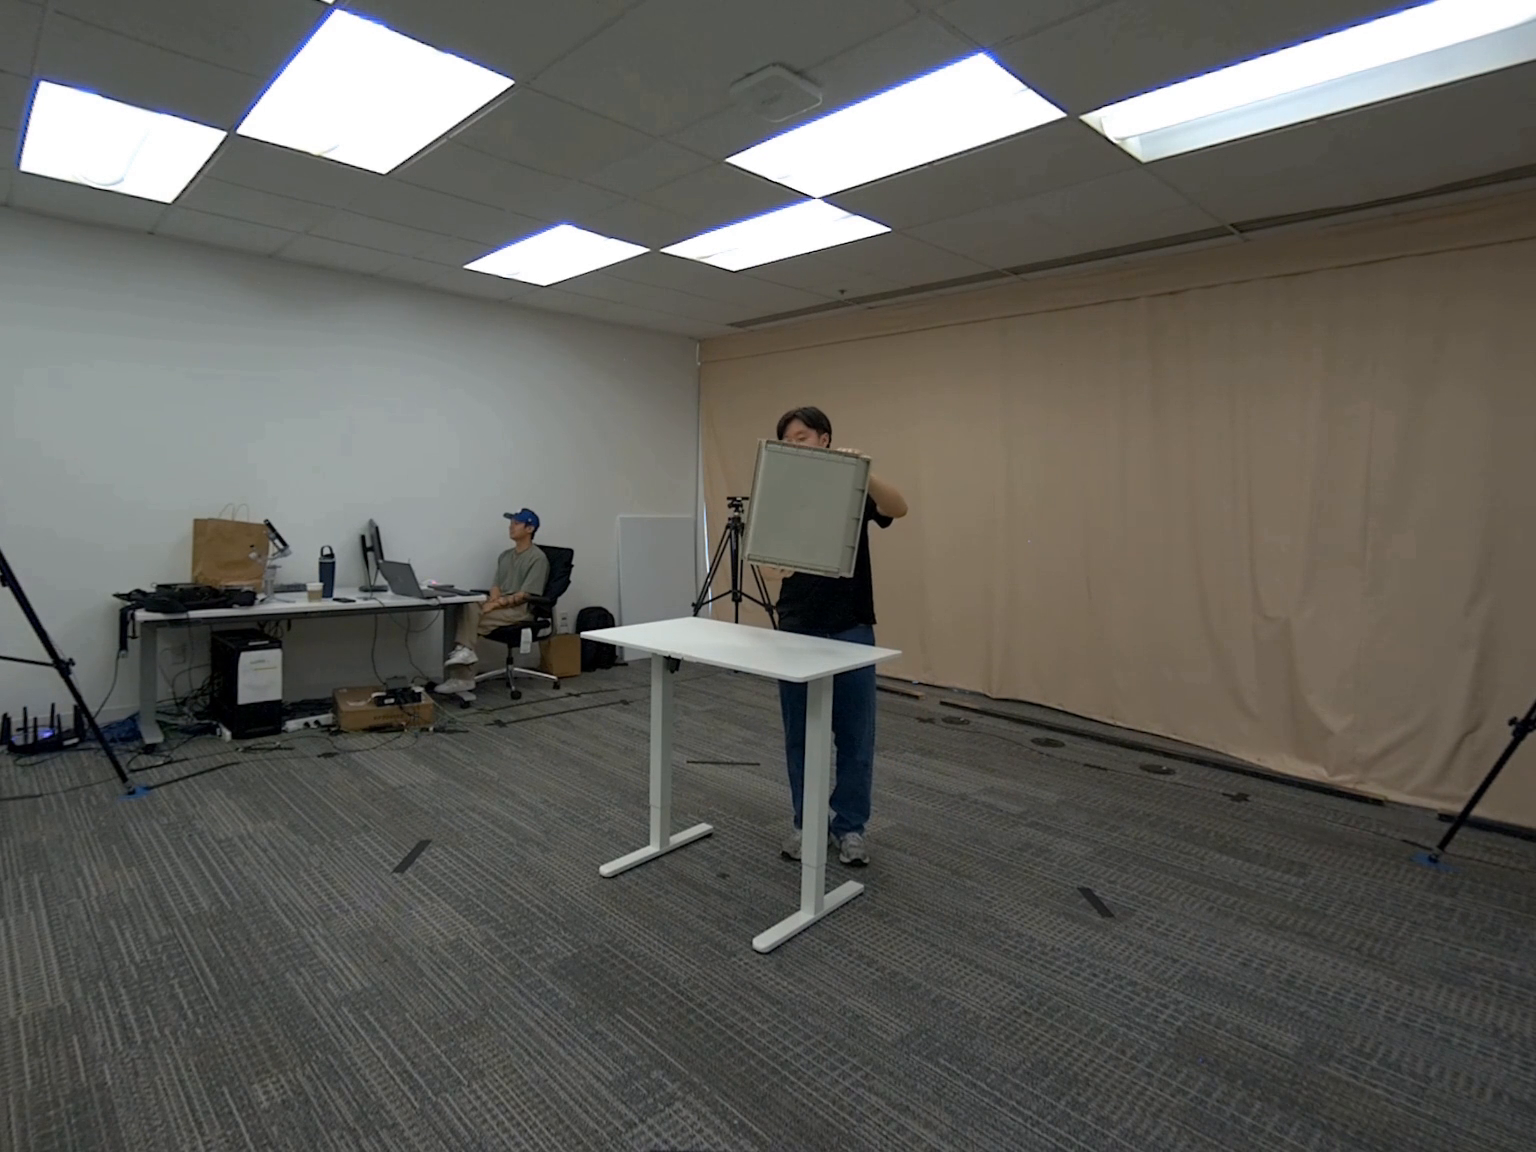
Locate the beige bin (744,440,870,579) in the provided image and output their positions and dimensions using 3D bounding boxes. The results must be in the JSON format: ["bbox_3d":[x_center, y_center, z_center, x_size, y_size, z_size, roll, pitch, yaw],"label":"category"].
[{"bbox_3d":[0.120,-0.228,2.851,0.378,0.421,0.189,7,3,1],"label":"beige bin"}]
